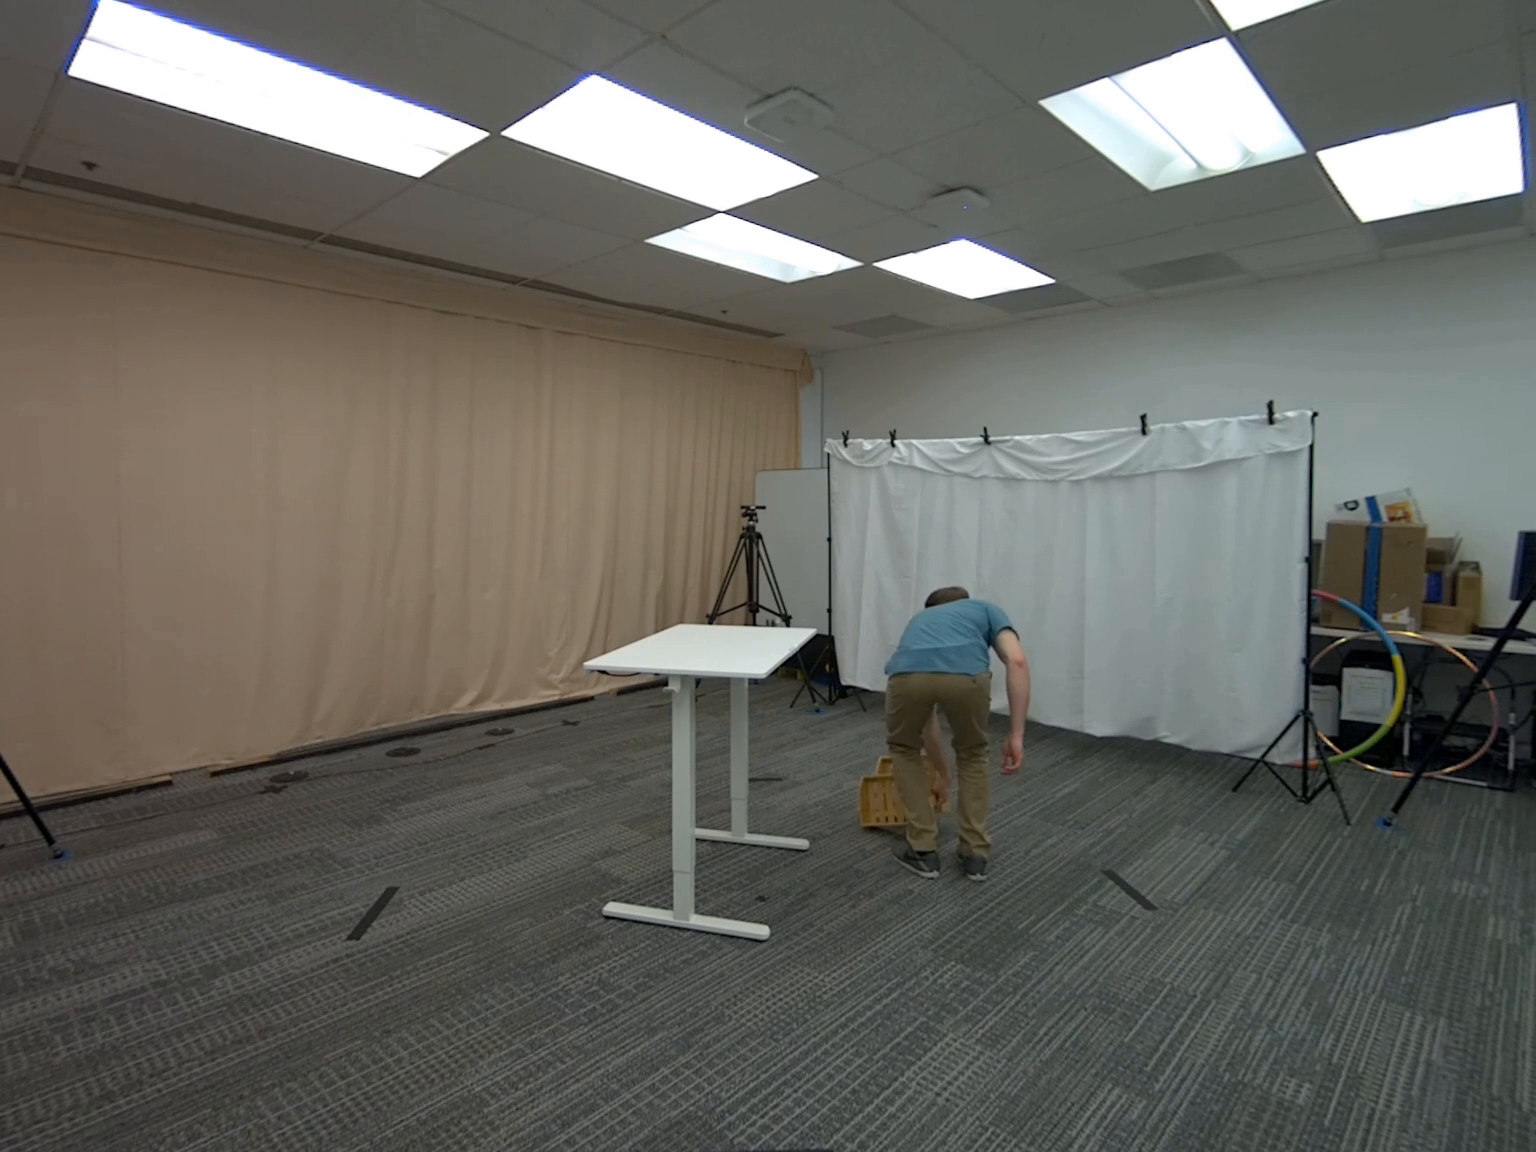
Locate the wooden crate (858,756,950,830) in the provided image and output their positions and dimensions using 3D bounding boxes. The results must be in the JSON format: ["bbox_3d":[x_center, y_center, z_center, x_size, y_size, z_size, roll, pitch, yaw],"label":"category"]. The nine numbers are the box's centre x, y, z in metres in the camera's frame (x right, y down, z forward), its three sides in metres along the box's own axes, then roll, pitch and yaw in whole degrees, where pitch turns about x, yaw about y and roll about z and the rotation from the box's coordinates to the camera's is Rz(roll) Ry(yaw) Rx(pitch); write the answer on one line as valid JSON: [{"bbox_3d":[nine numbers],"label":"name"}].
[{"bbox_3d":[0.584,0.922,3.652,0.333,0.305,0.263,-13,-21,34],"label":"wooden crate"}]
